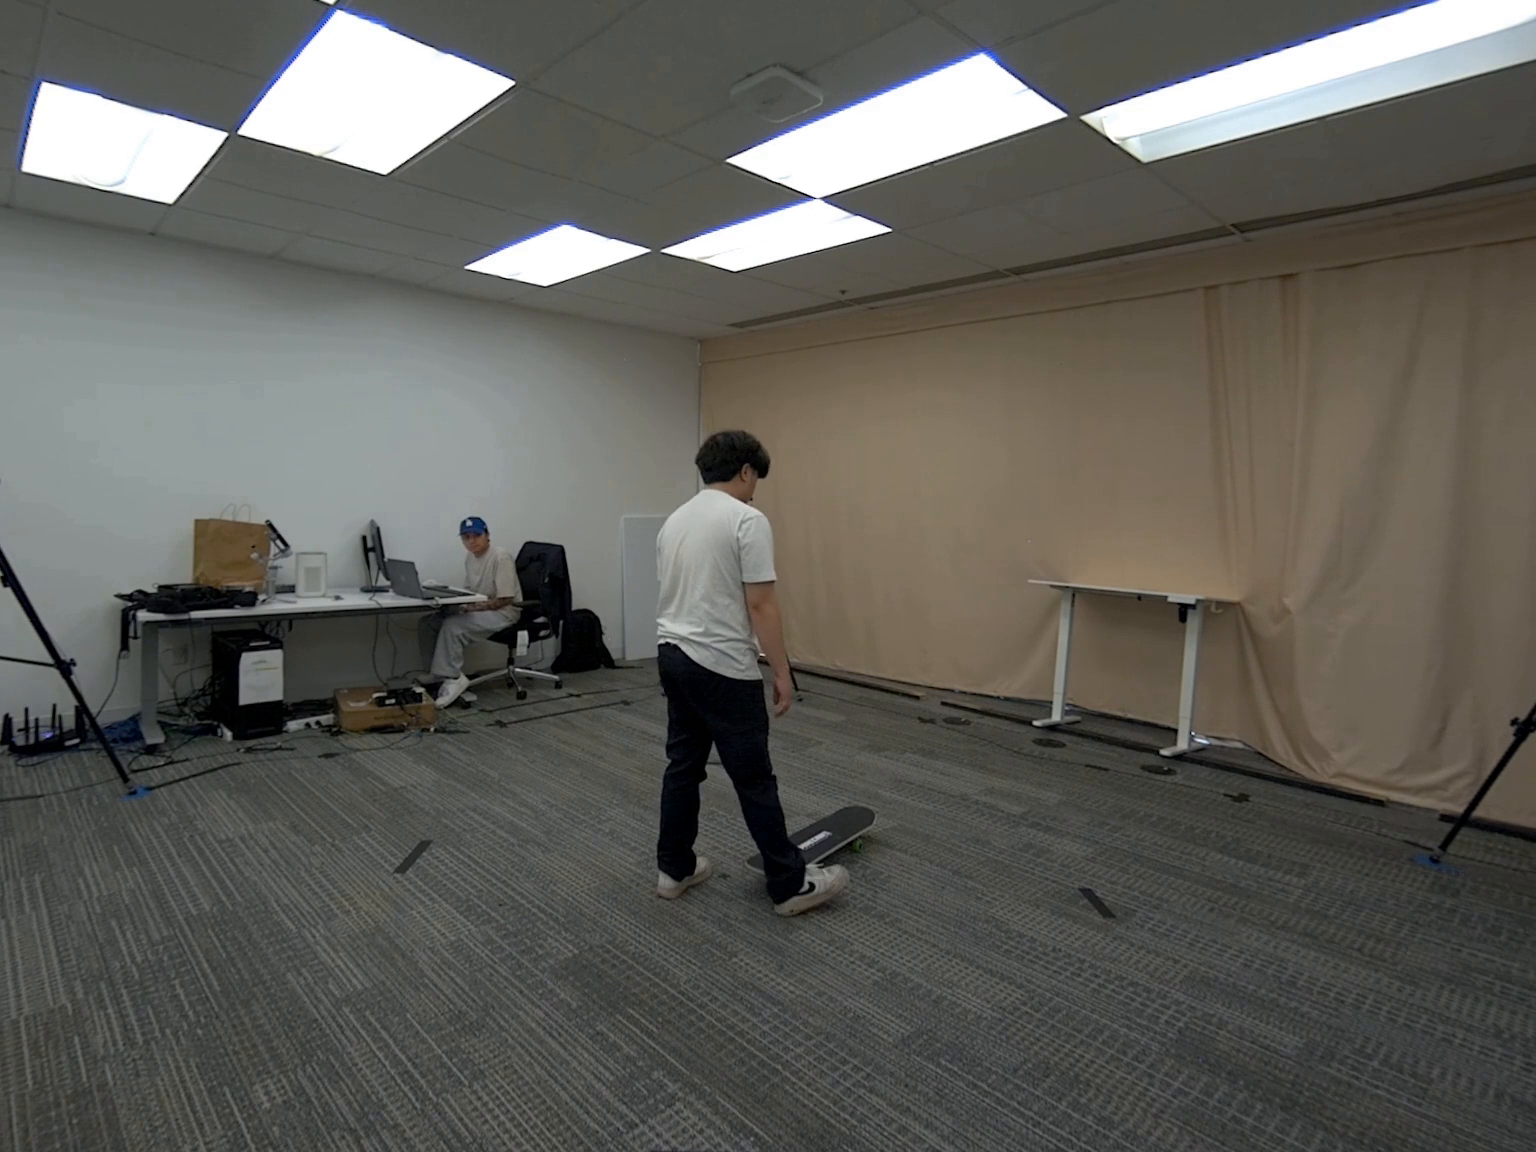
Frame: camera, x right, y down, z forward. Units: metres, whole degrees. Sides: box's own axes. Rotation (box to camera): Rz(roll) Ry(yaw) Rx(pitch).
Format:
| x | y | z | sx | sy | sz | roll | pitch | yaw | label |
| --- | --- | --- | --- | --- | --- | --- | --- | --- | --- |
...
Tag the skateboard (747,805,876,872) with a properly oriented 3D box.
| x | y | z | sx | sy | sz | roll | pitch | yaw | label |
| --- | --- | --- | --- | --- | --- | --- | --- | --- | --- |
| 0.175 | 1.049 | 3.239 | 0.198 | 0.110 | 0.769 | 4 | 6 | 35 | skateboard |
